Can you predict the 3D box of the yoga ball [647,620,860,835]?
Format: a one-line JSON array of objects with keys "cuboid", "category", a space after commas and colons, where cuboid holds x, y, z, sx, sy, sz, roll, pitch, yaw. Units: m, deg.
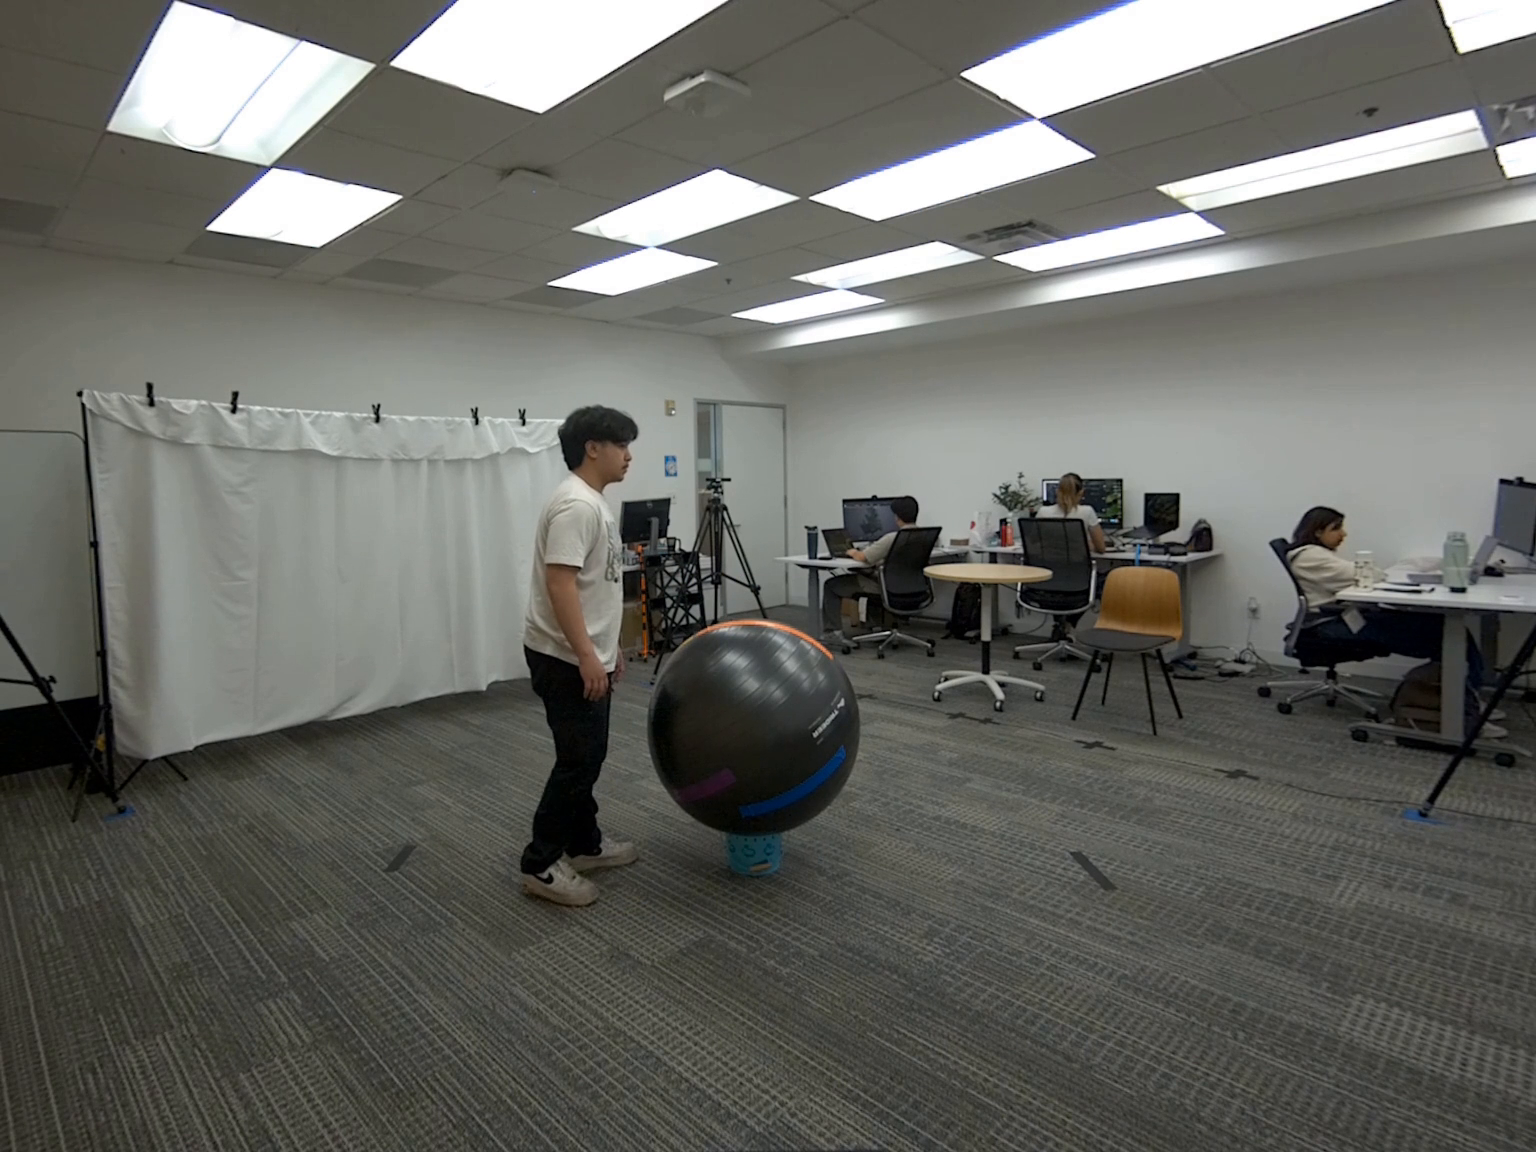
[{"cuboid": [-0.049, 0.536, 3.058, 0.757, 0.755, 0.762, -1, 5, -2], "category": "yoga ball"}]
